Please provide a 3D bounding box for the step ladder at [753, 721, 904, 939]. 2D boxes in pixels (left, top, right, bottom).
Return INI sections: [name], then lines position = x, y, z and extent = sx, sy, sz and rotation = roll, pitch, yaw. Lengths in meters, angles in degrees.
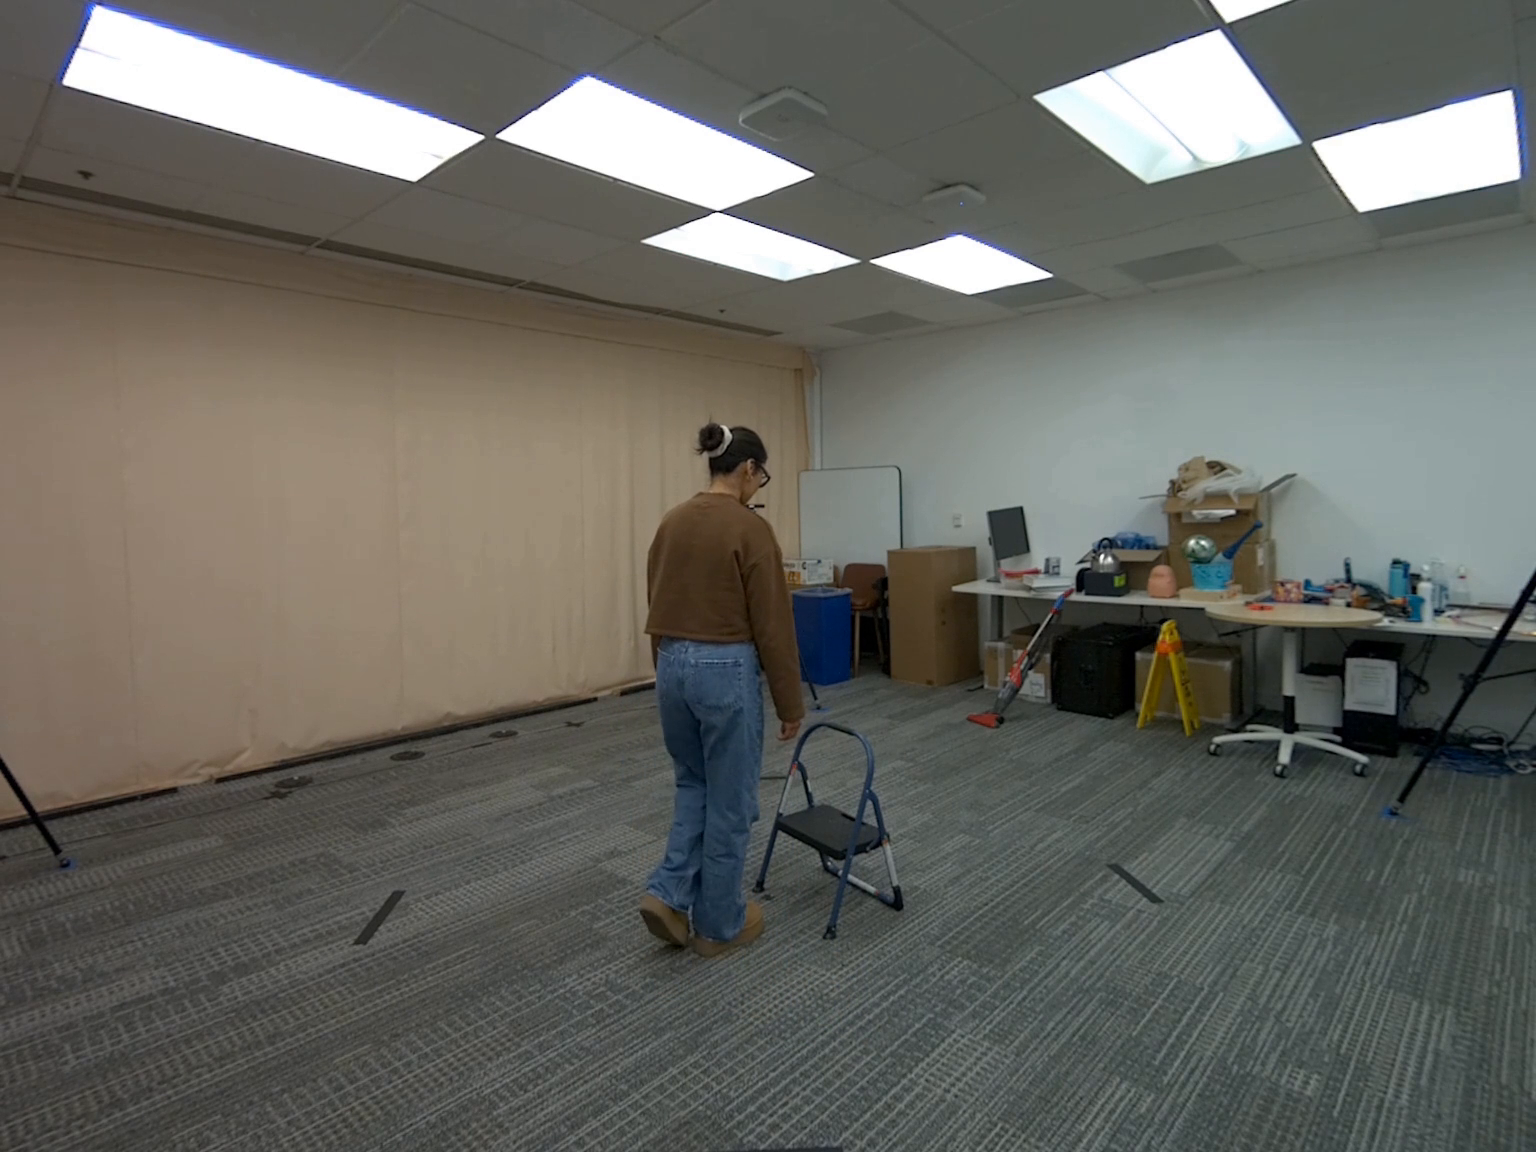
[step ladder]
position = 0.205, 0.834, 2.939
extent = 0.339, 0.605, 0.444
rotation = -3, 4, -35
